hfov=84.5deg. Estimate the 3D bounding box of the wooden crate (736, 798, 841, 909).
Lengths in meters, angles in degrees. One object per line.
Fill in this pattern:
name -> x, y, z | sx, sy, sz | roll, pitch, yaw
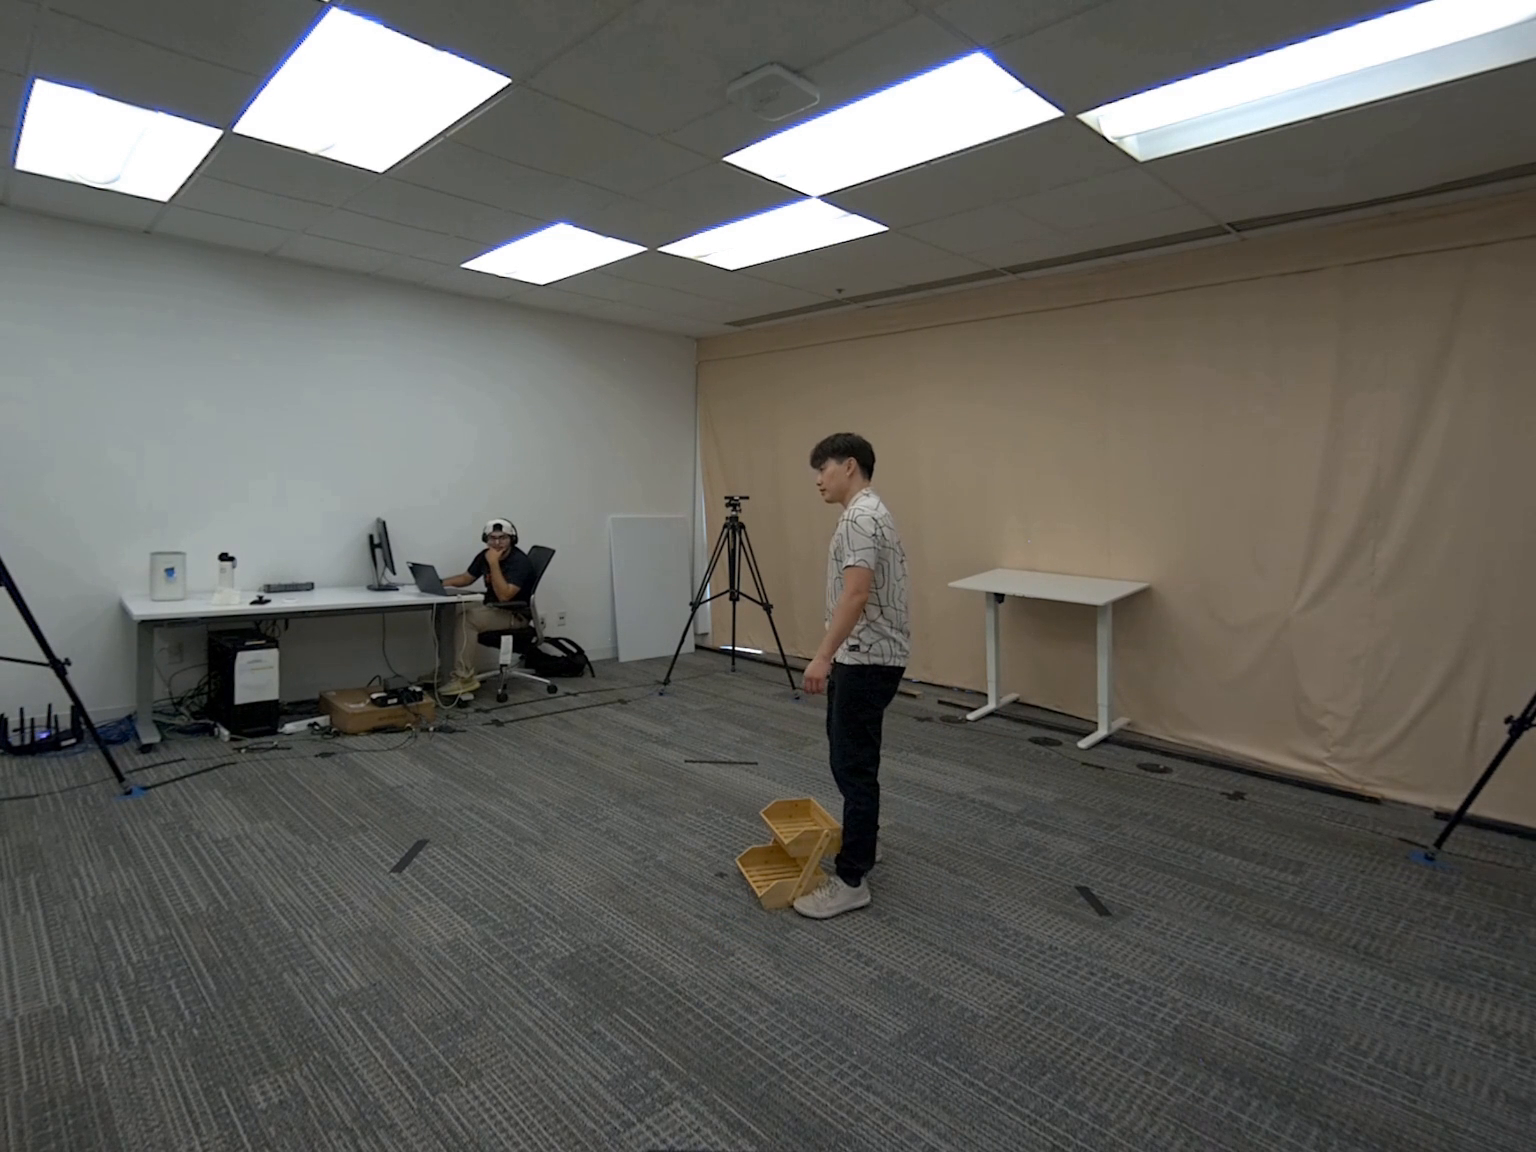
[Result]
wooden crate -> 0.053, 0.984, 3.022 | 0.298, 0.272, 0.329 | 0, 4, -17
